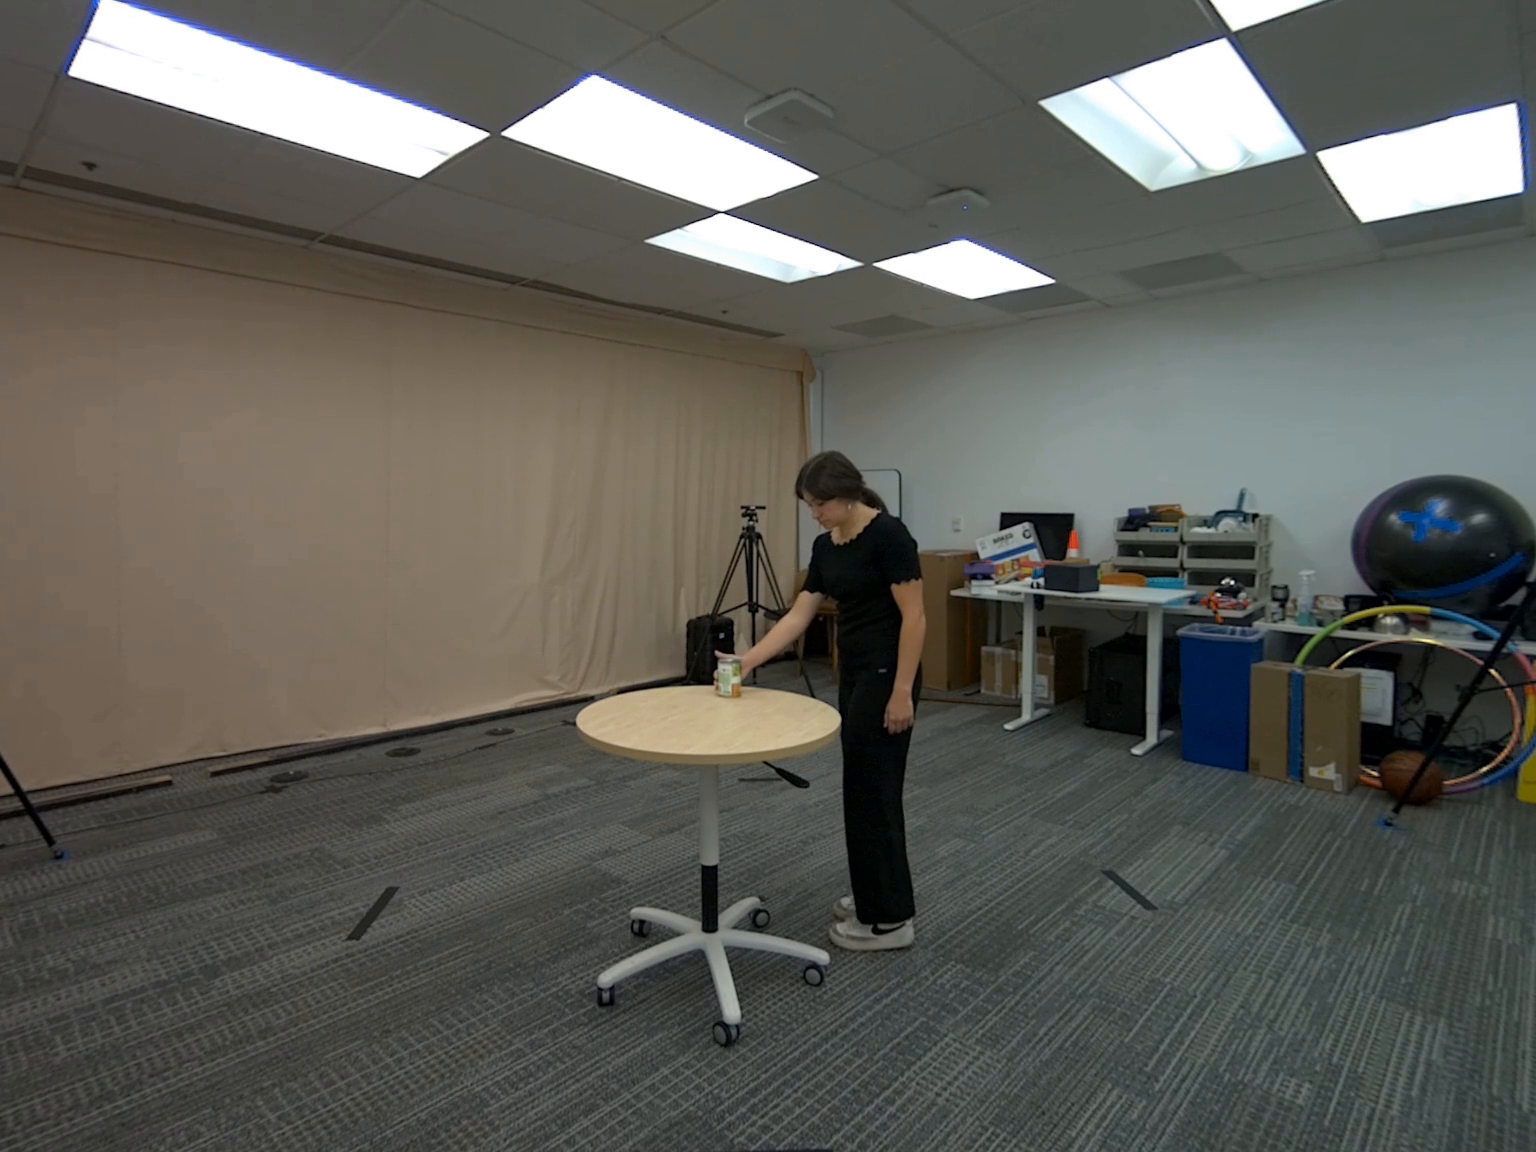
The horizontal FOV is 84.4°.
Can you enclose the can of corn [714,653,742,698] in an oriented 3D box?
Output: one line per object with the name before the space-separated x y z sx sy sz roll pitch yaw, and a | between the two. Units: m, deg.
can of corn | -0.121 0.330 2.698 0.074 0.111 0.074 1 1 -2
